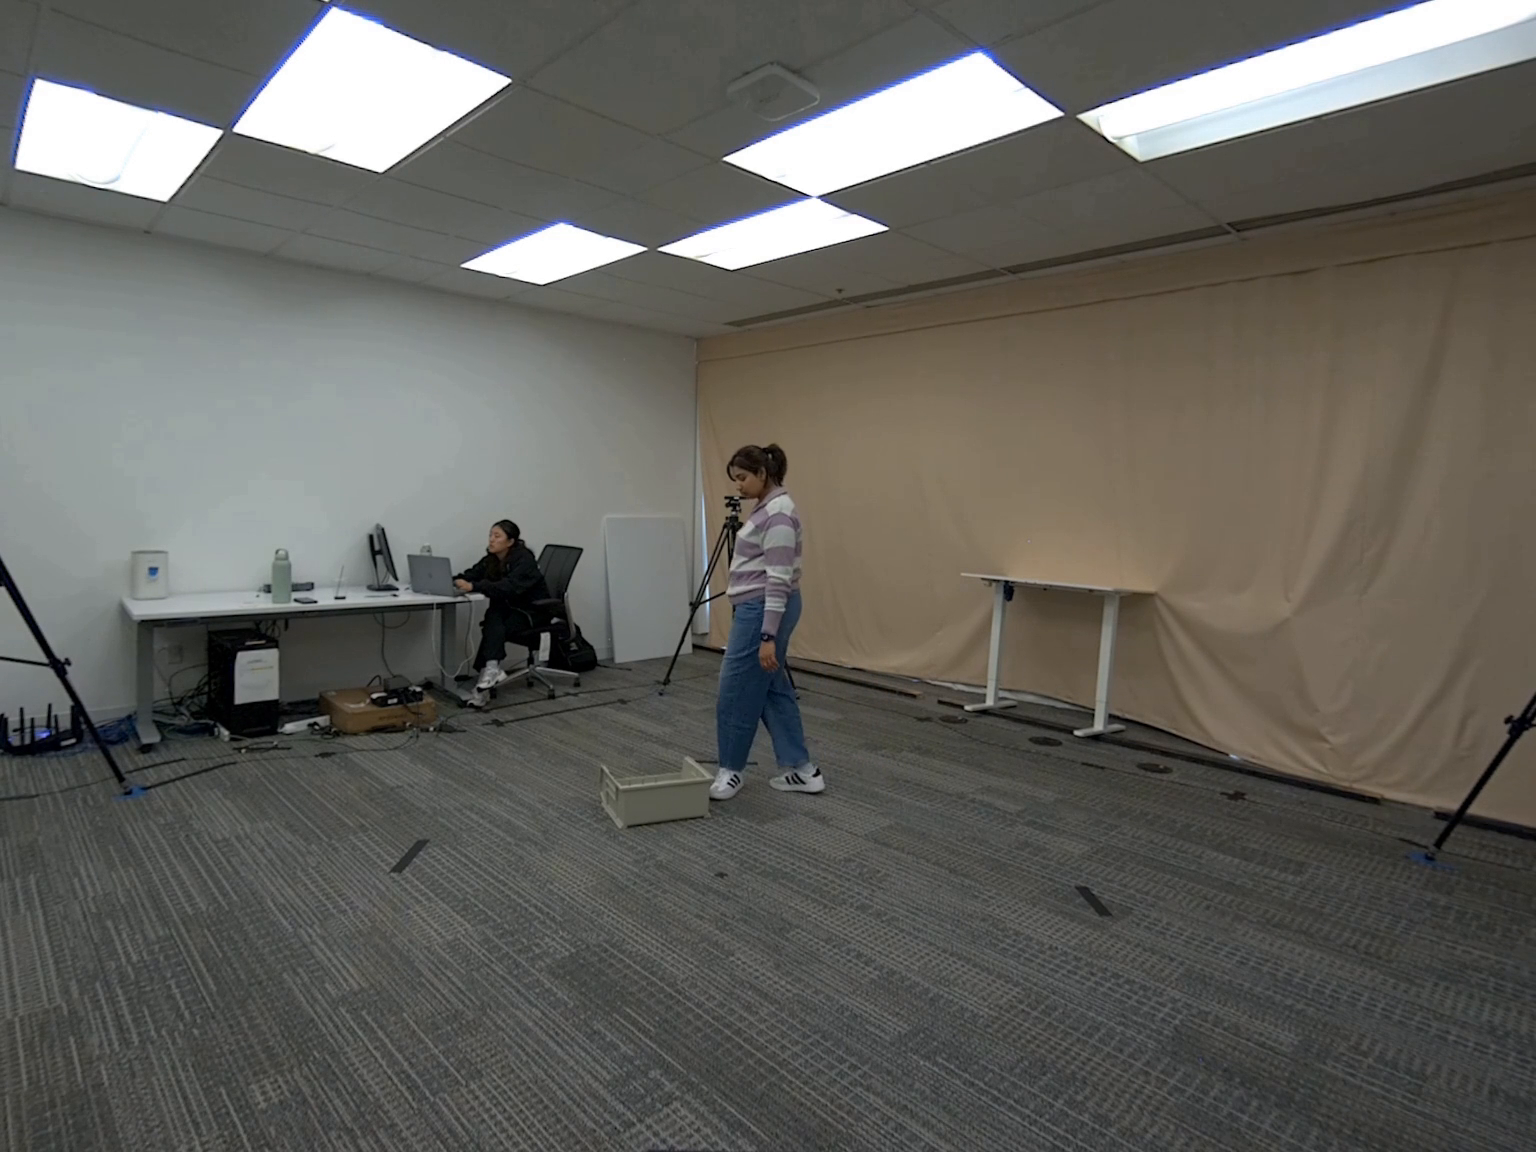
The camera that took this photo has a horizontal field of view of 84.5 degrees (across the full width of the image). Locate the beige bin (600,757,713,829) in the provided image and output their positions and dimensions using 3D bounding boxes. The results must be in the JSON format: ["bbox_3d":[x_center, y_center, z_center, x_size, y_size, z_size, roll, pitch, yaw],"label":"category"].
[{"bbox_3d":[-0.516,0.951,3.747,0.415,0.188,0.385,0,6,-25],"label":"beige bin"}]
